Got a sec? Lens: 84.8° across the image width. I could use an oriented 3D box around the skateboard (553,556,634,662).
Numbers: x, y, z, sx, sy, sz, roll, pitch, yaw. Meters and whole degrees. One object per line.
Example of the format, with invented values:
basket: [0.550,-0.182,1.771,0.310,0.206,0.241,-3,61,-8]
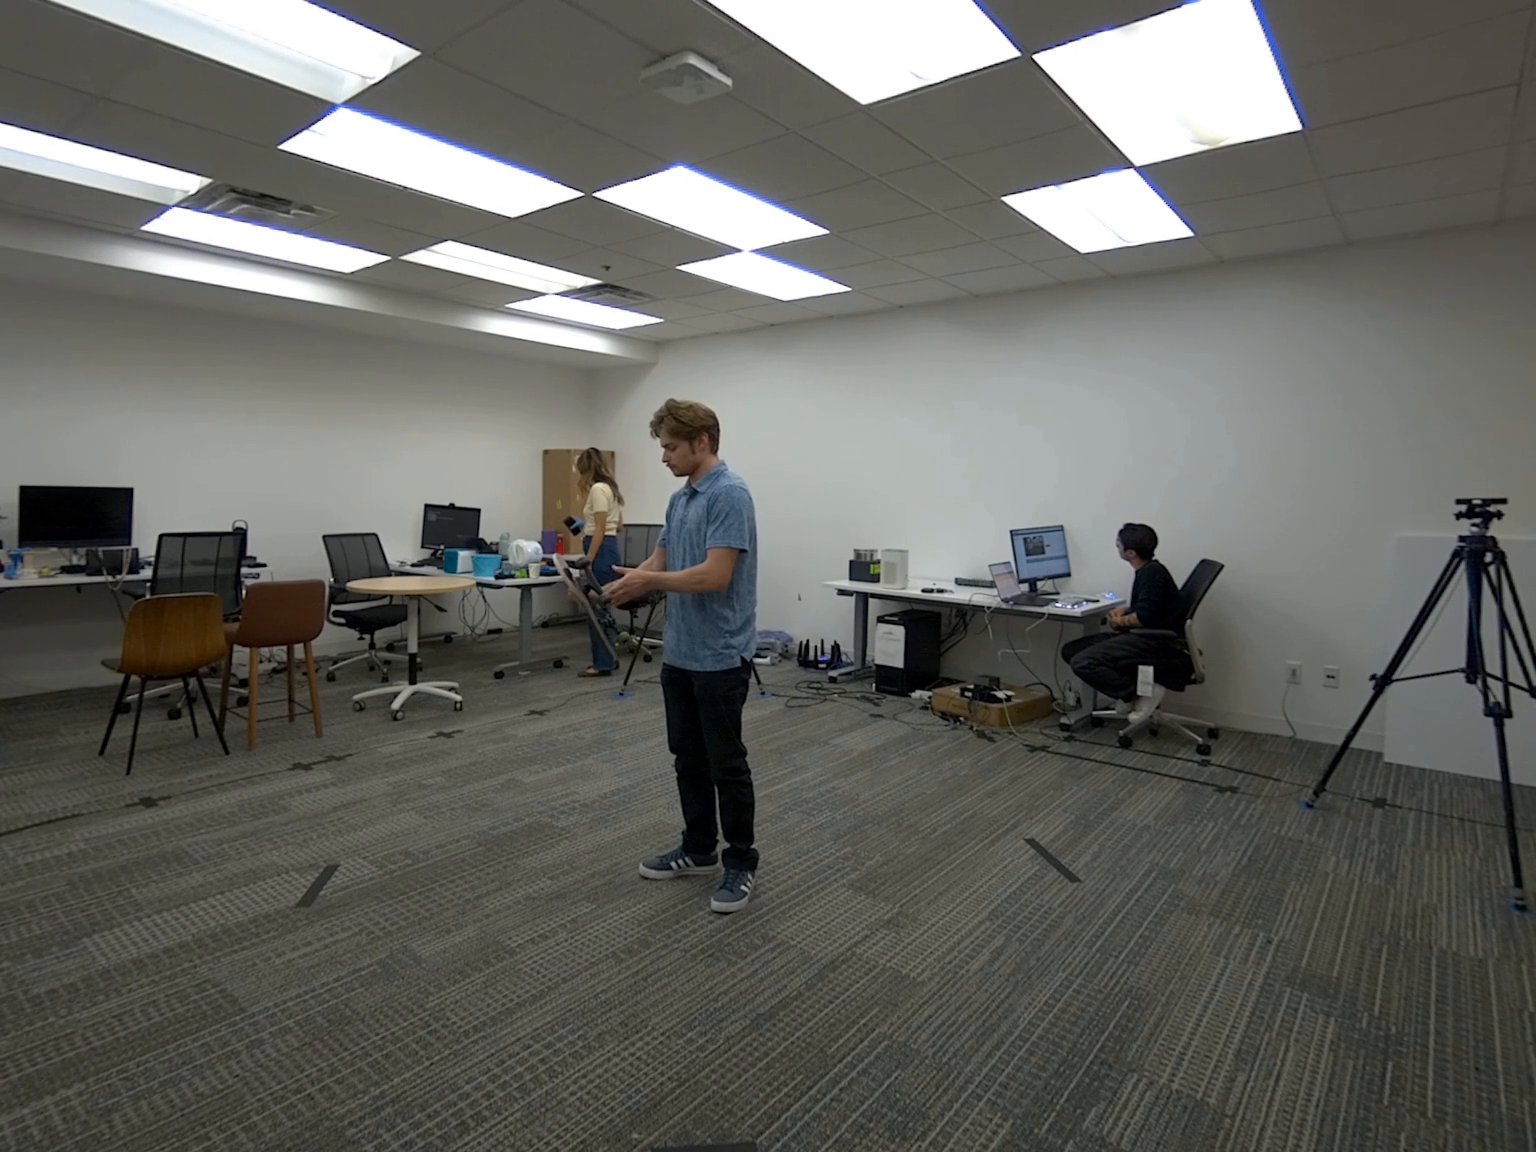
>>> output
skateboard: [-0.606,0.112,2.957,0.110,0.200,0.763,-30,-25,-12]
